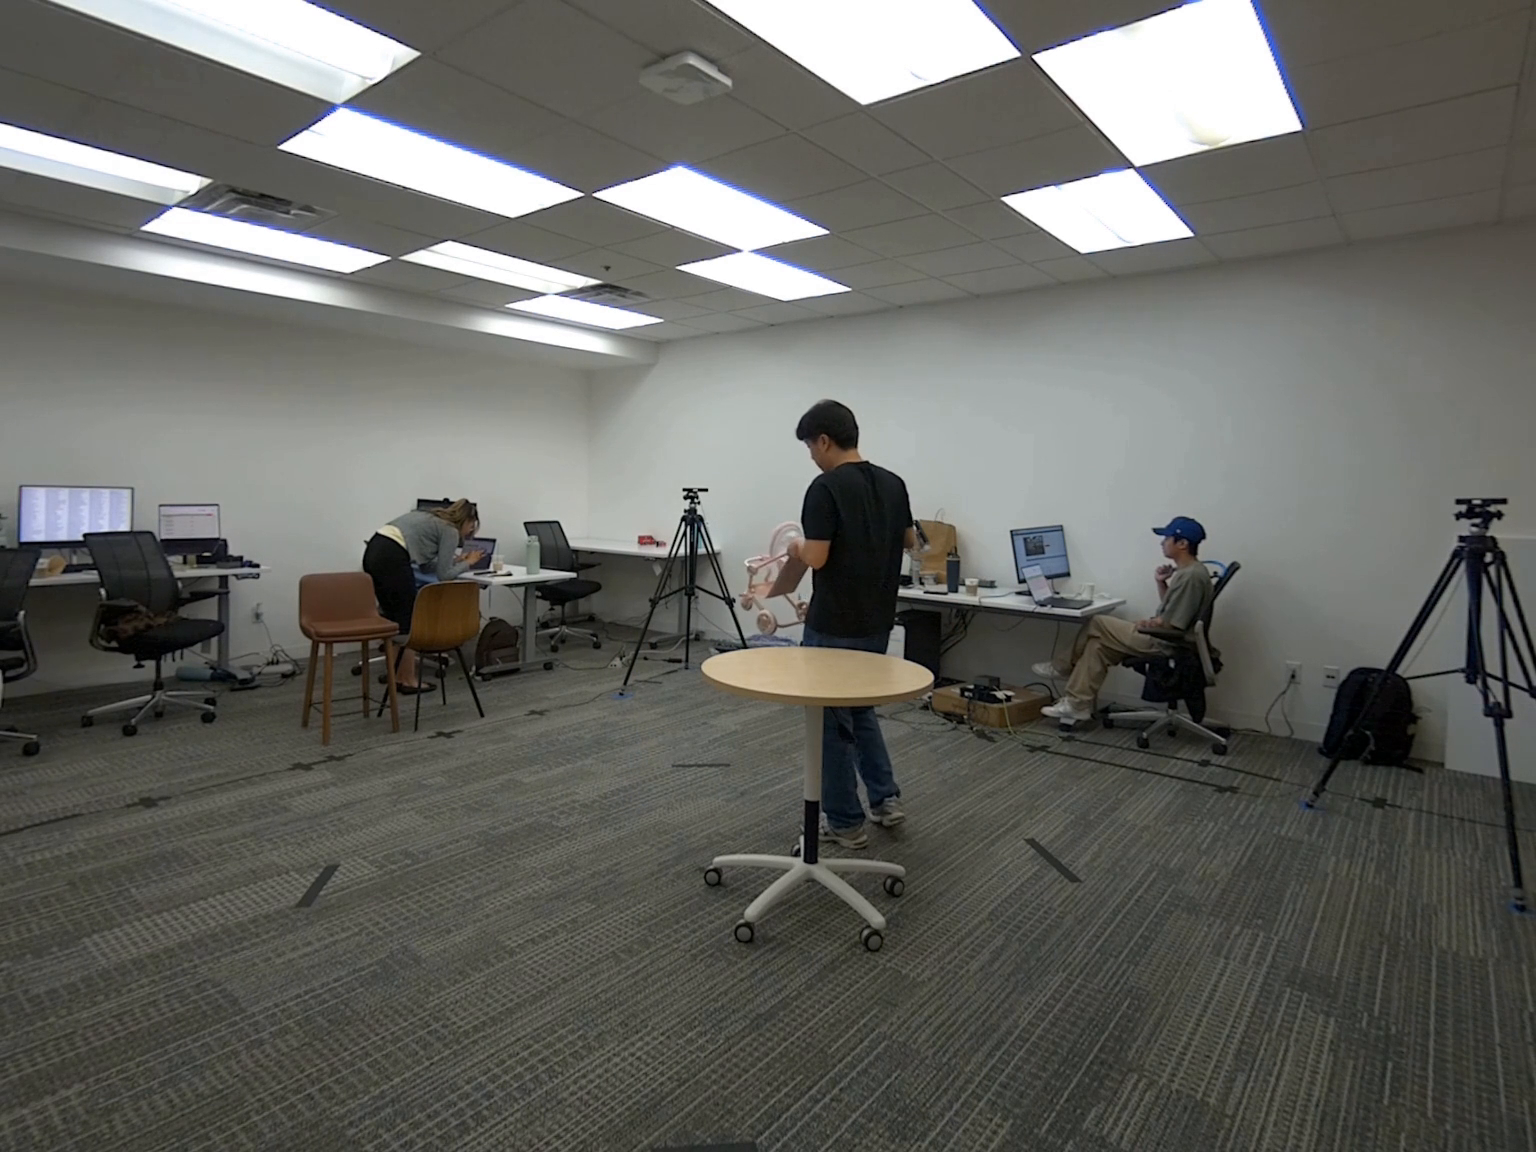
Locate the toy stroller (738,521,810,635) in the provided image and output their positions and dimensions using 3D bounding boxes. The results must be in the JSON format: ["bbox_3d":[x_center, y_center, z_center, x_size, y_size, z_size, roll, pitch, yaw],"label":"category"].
[{"bbox_3d":[0.045,-0.009,3.697,0.274,0.527,0.356,-7,35,-39],"label":"toy stroller"}]
